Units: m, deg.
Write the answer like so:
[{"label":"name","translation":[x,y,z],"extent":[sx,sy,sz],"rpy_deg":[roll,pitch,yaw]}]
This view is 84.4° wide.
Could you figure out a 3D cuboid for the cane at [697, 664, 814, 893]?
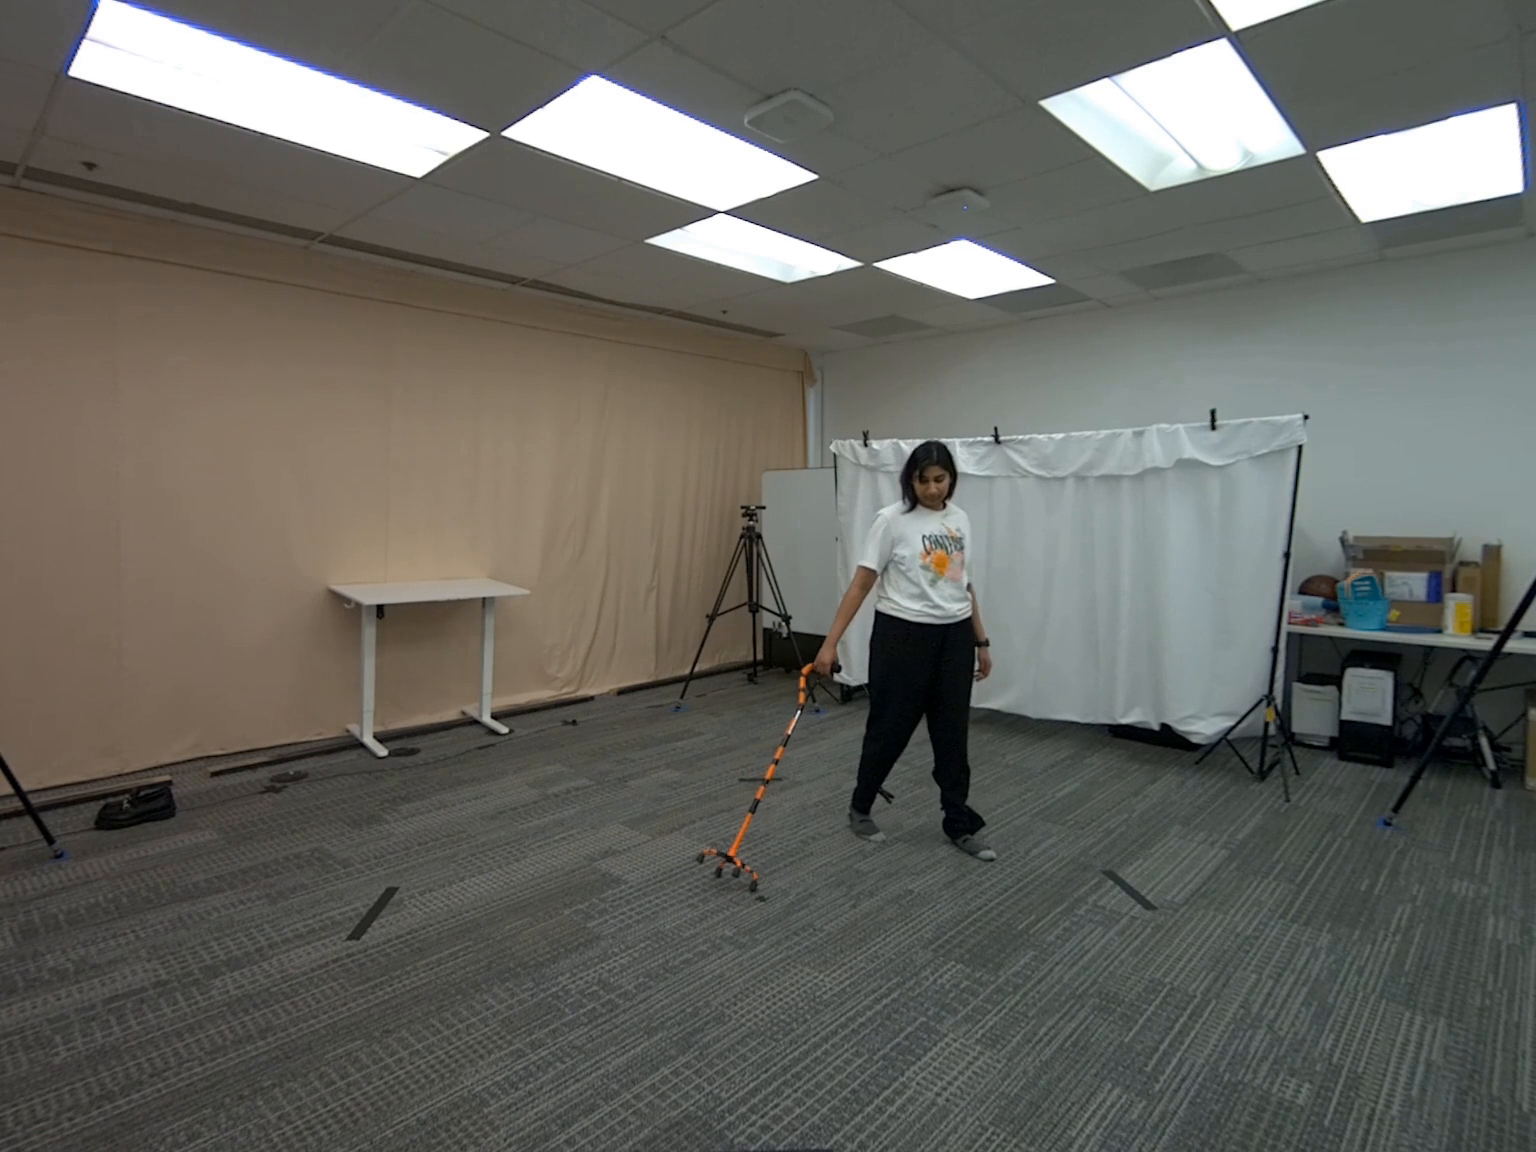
[{"label":"cane","translation":[0.043,0.731,3.249],"extent":[0.213,0.908,0.146],"rpy_deg":[7,-33,38]}]
